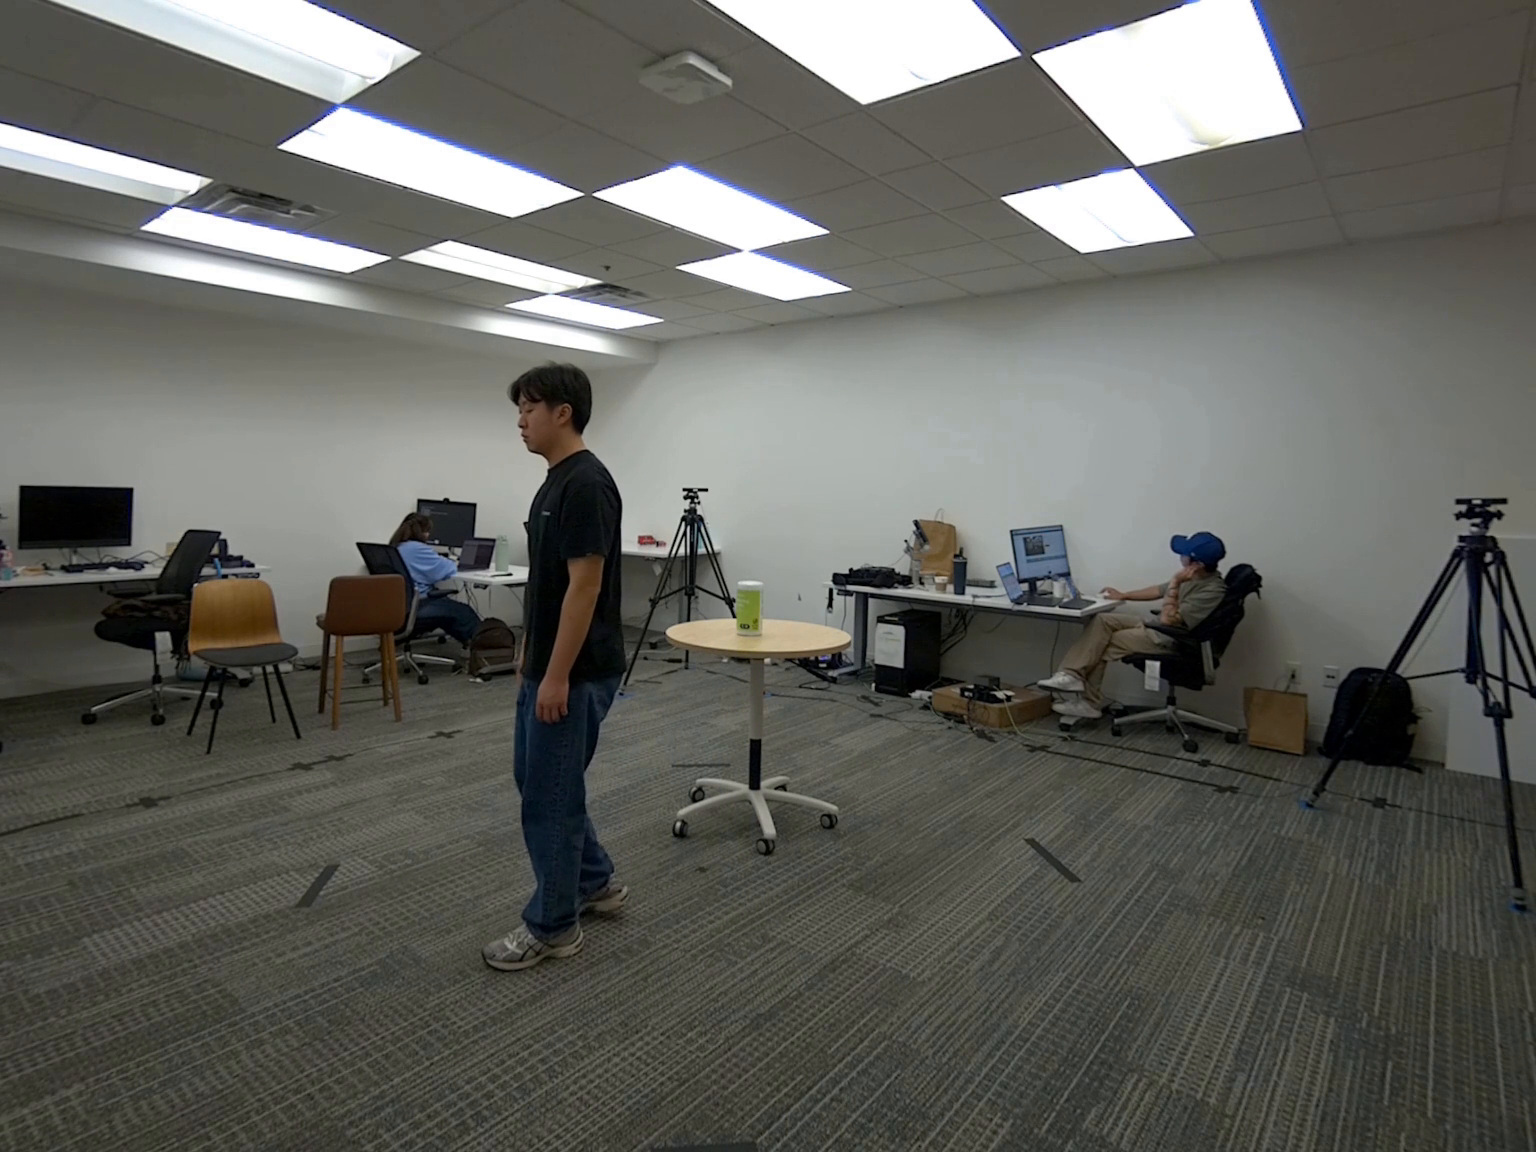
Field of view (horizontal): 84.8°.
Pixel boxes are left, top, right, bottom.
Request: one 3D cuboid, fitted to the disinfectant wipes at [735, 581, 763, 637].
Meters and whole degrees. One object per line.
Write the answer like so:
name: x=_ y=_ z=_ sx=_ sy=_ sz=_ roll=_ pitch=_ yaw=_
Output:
disinfectant wipes: x=-0.085 y=0.132 z=3.511 sx=0.117 sy=0.217 sz=0.118 roll=1 pitch=4 yaw=-2
